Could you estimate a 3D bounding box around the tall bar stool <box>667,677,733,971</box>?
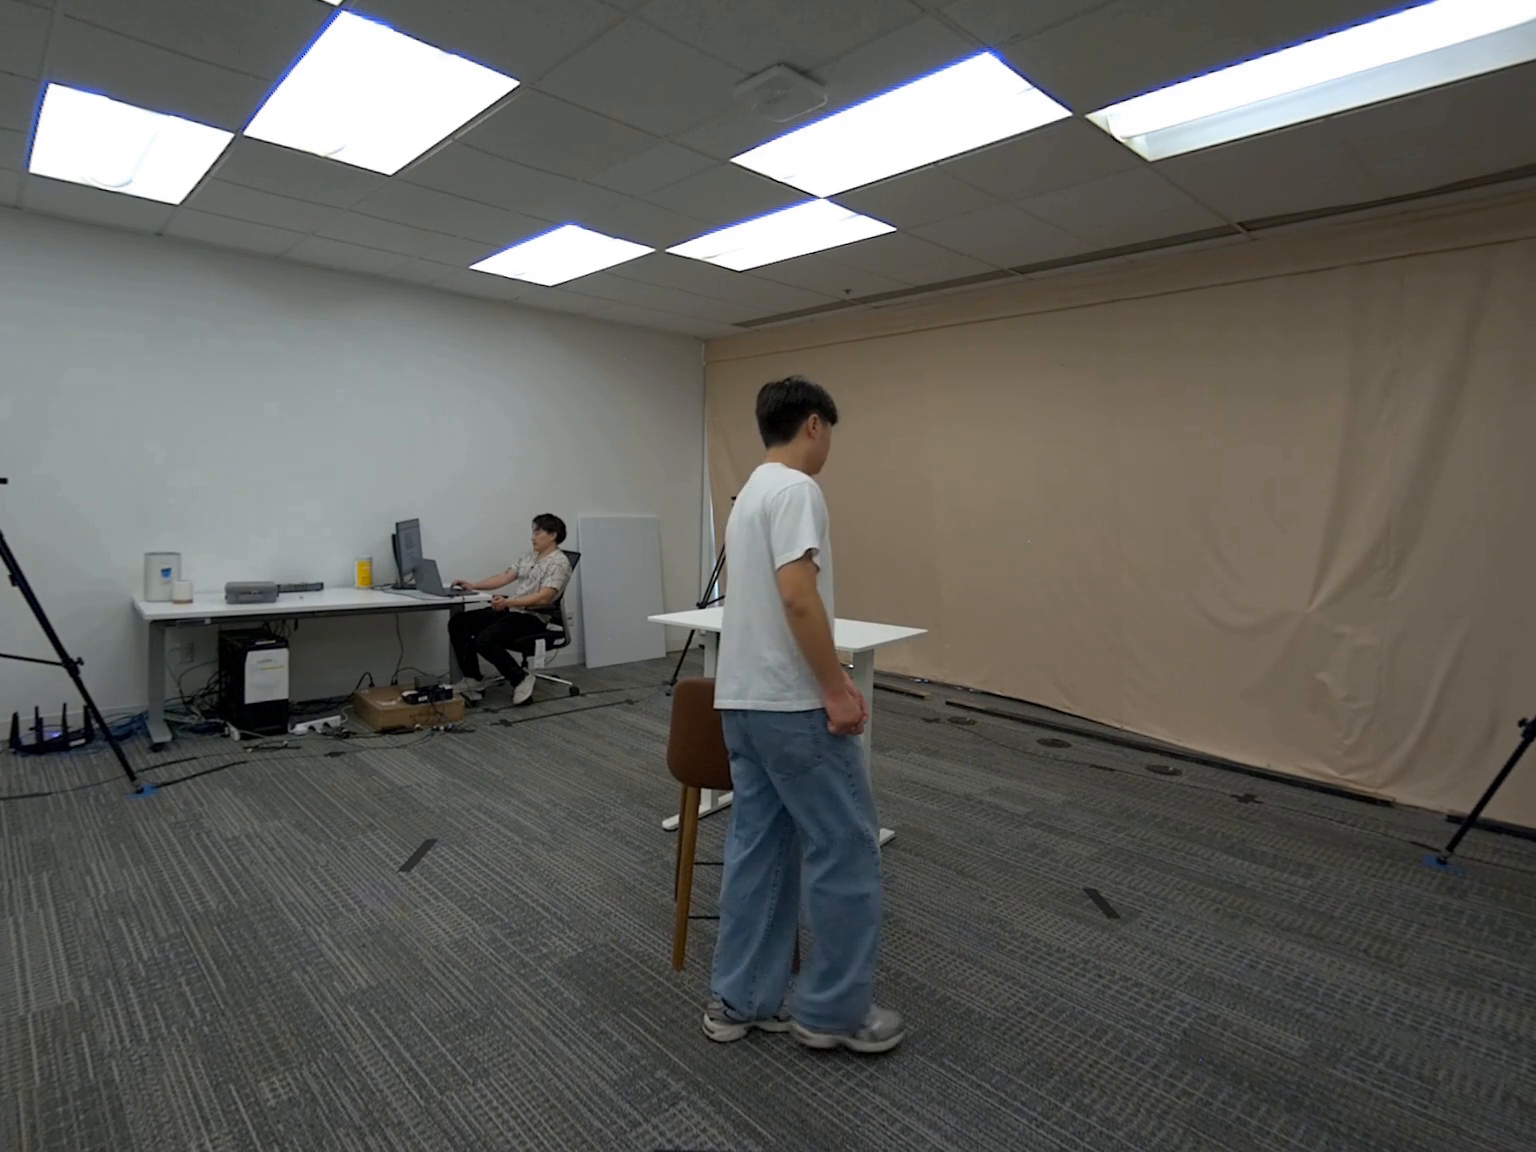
[{"bbox_3d":[-0.108,0.711,2.659,0.456,0.886,0.470,1,6,-2],"label":"tall bar stool"}]
